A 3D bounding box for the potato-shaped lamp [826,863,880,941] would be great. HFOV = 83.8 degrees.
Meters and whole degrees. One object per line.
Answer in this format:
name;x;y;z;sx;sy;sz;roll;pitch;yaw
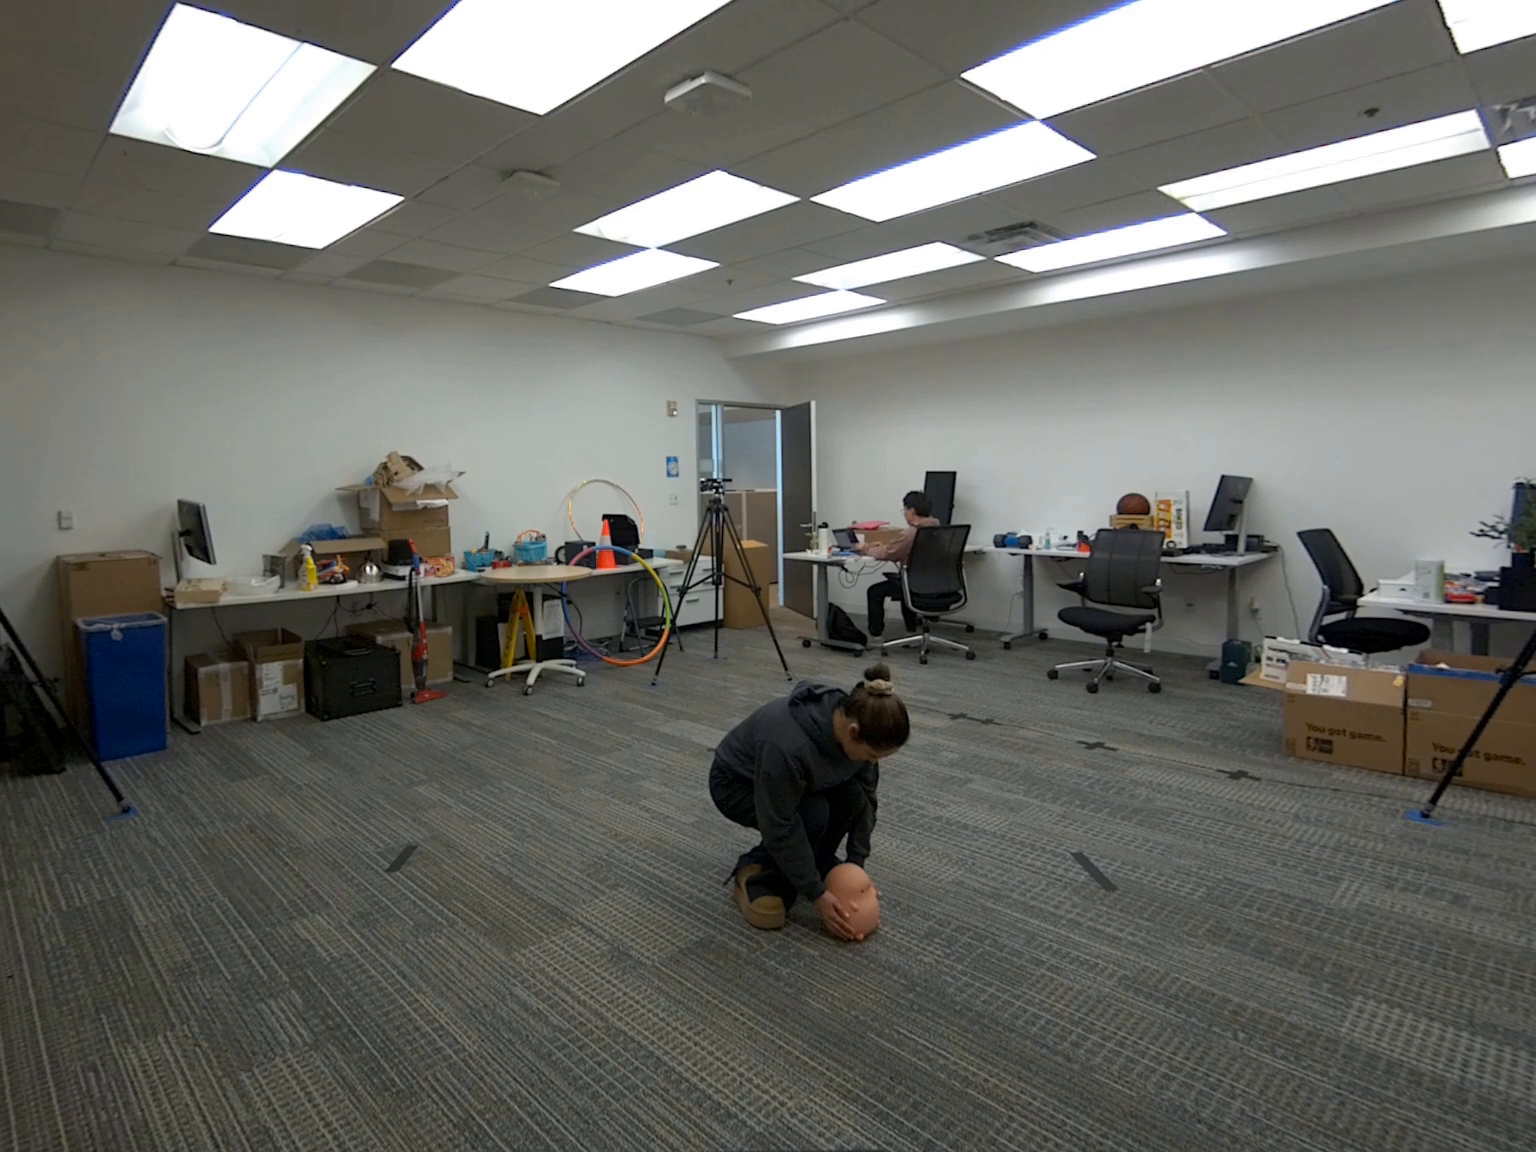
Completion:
potato-shaped lamp;0.249;0.989;2.621;0.176;0.197;0.160;2;6;40
